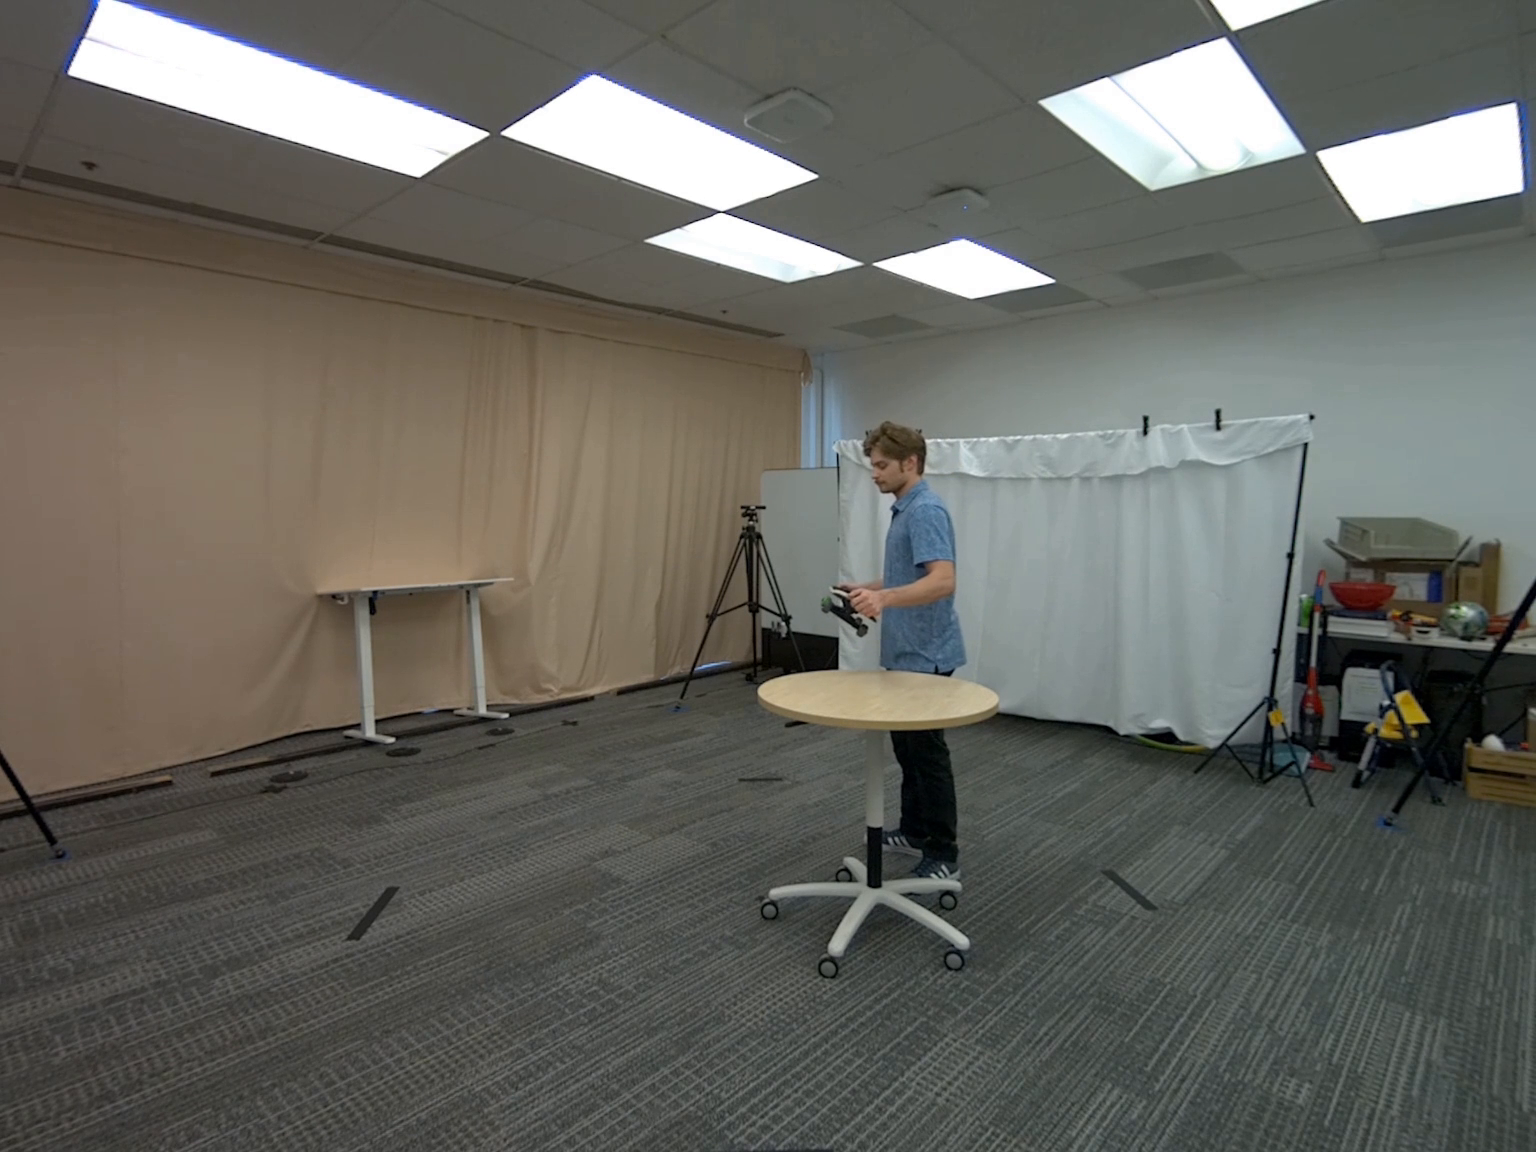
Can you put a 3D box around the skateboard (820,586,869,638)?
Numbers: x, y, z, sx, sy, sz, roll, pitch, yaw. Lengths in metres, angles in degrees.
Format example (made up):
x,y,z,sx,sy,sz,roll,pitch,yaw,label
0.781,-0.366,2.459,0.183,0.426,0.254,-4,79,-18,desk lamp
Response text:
x,y,z,sx,sy,sz,roll,pitch,yaw,label
0.313,0.137,3.257,0.194,0.110,0.781,34,0,3,skateboard
